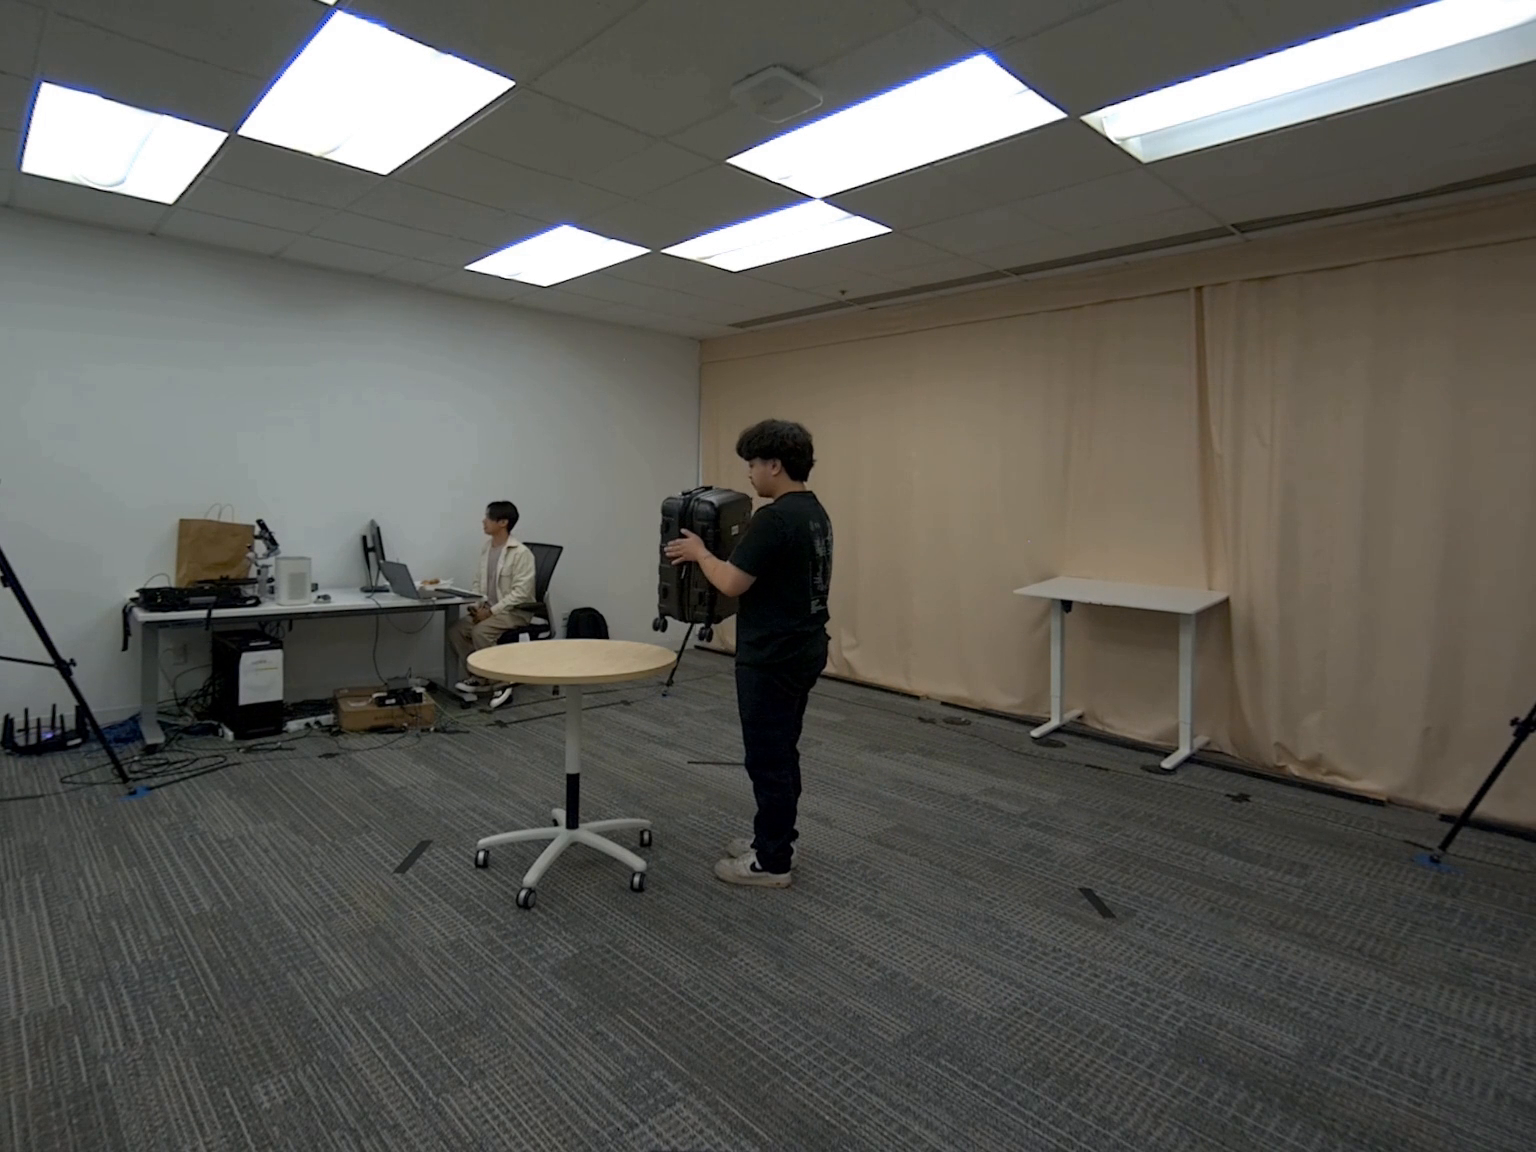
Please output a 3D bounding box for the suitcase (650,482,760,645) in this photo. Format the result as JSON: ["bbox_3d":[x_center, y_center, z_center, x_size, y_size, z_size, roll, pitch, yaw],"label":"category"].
[{"bbox_3d":[-0.245,-0.068,3.321,0.254,0.545,0.370,9,13,26],"label":"suitcase"}]
